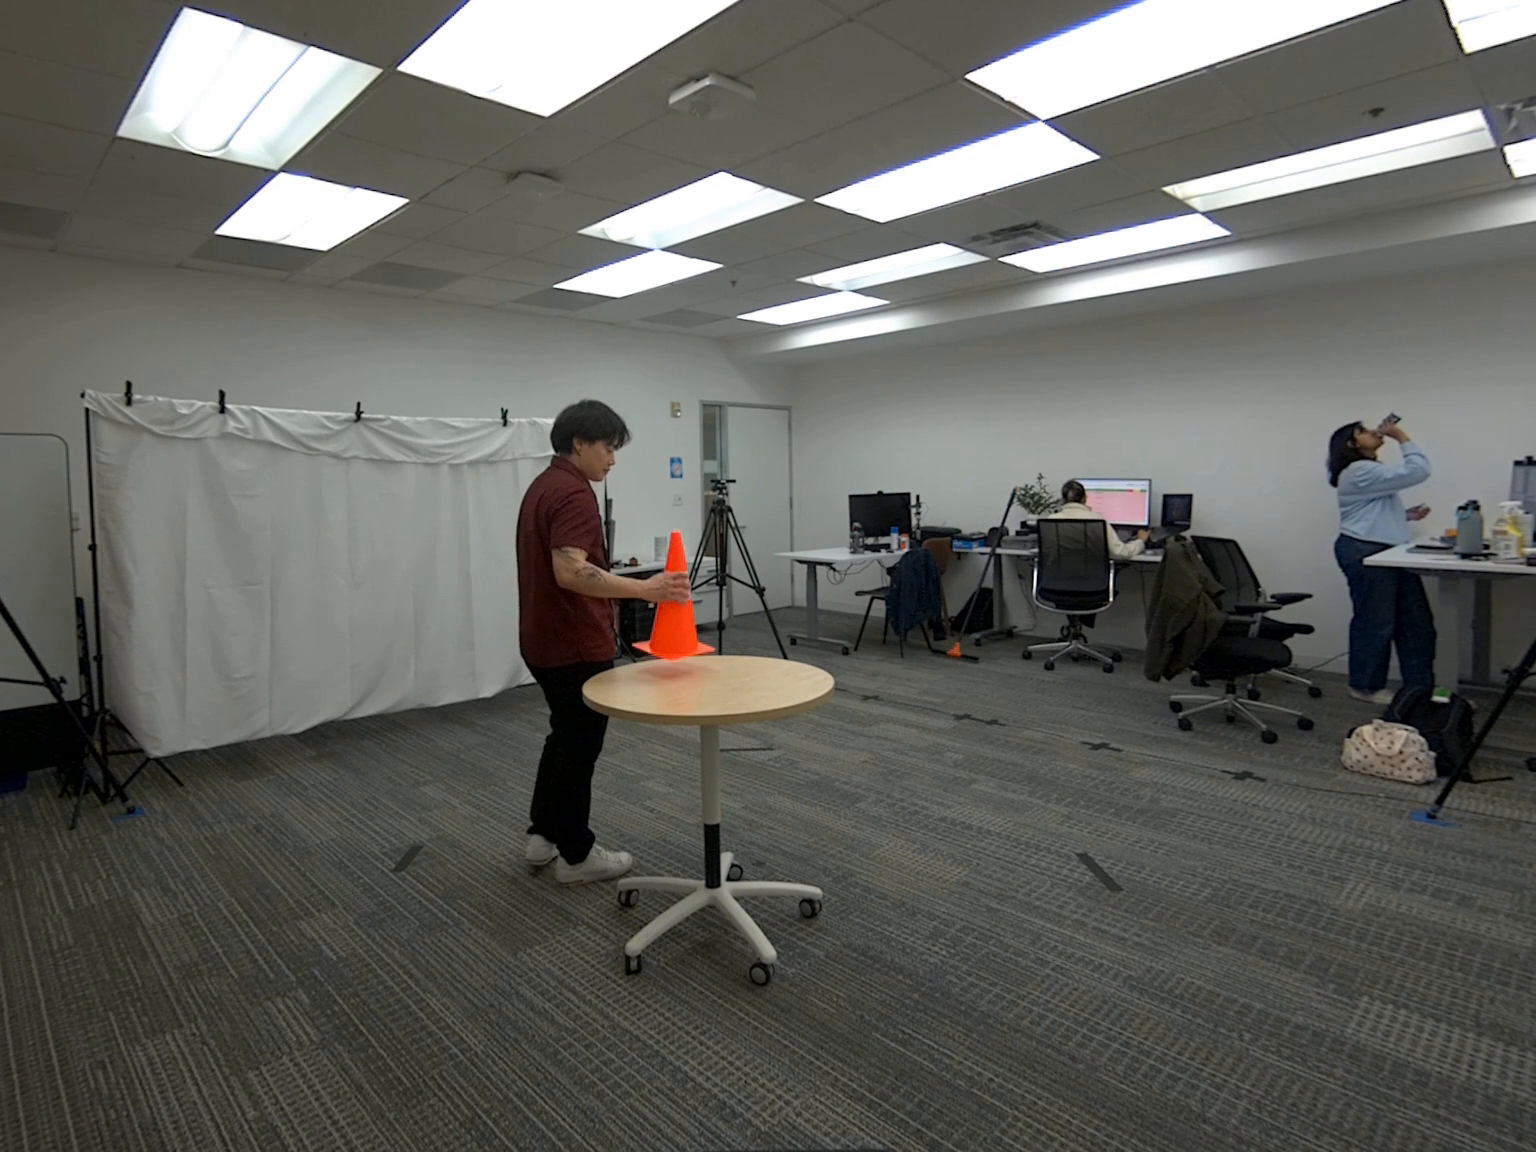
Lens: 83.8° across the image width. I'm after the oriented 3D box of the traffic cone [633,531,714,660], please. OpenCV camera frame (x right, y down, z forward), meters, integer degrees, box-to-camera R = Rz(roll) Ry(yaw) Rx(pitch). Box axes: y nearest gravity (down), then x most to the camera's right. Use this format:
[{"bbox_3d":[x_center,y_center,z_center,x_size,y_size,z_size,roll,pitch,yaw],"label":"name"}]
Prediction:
[{"bbox_3d":[-0.300,0.042,2.711,0.210,0.381,0.200,11,12,41],"label":"traffic cone"}]
